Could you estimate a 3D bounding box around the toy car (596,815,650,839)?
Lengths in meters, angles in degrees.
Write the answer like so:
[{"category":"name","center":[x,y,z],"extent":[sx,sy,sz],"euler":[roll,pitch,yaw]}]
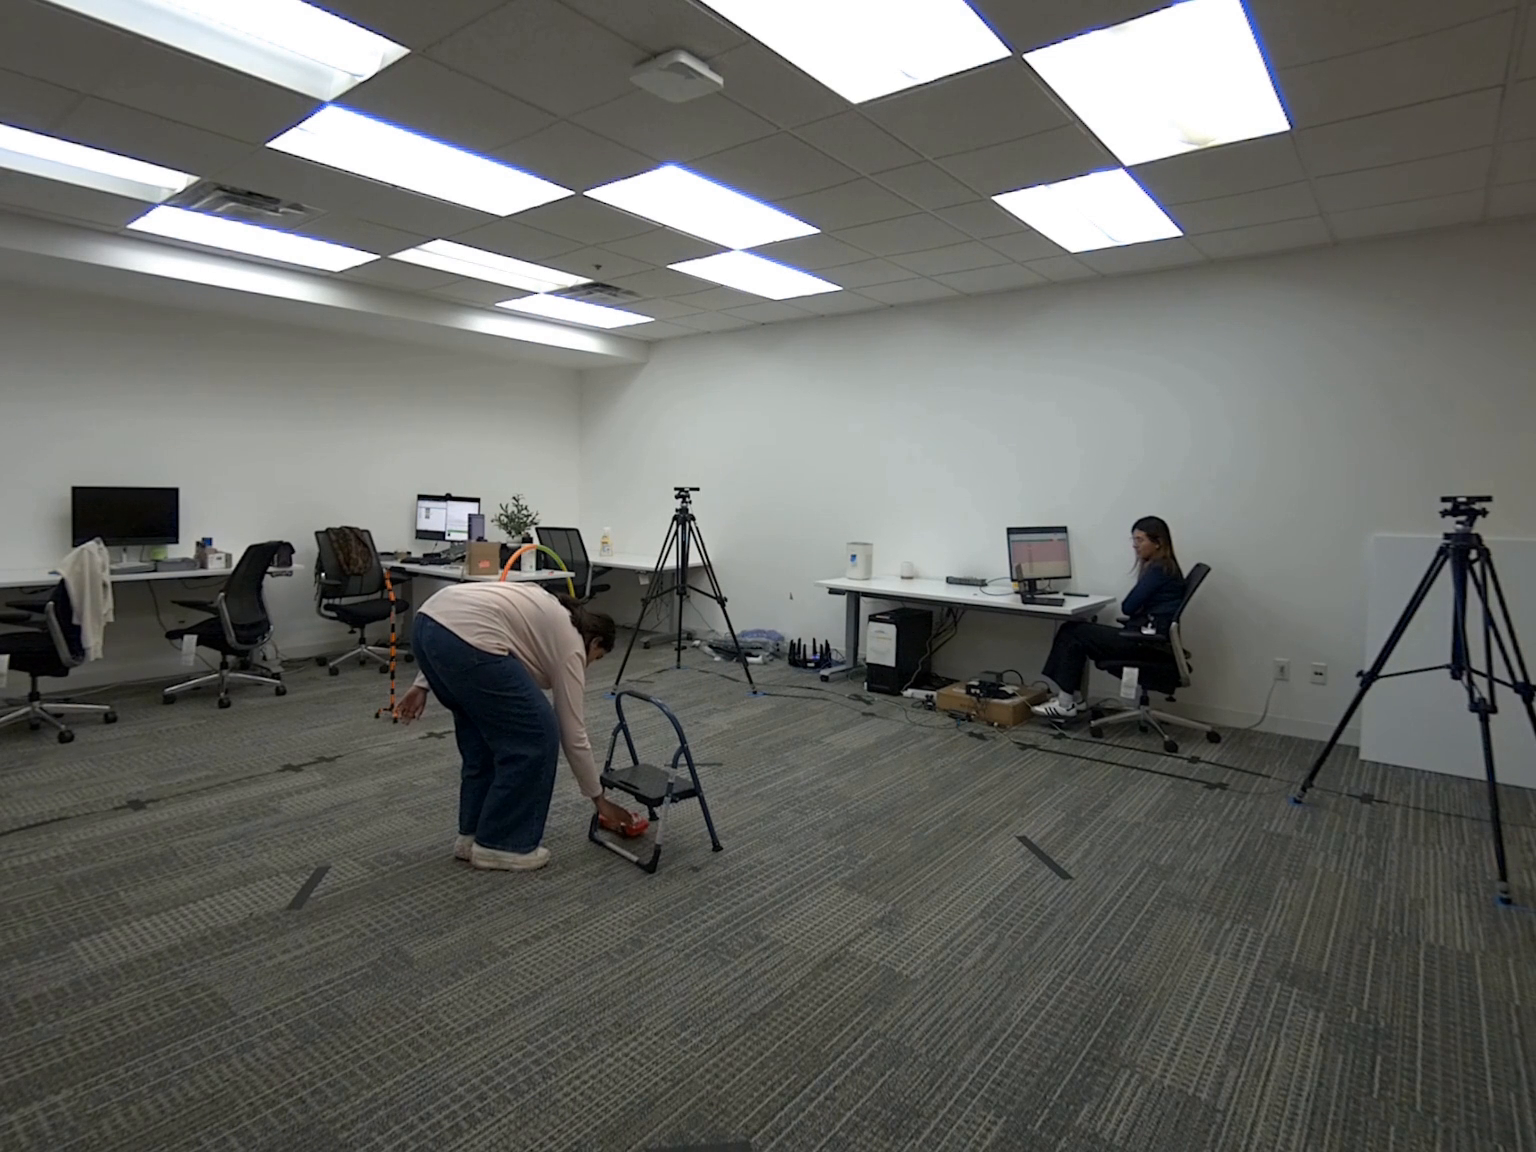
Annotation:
[{"category":"toy car","center":[-0.600,1.002,3.441],"extent":[0.261,0.083,0.126],"euler":[-8,-3,40]}]
